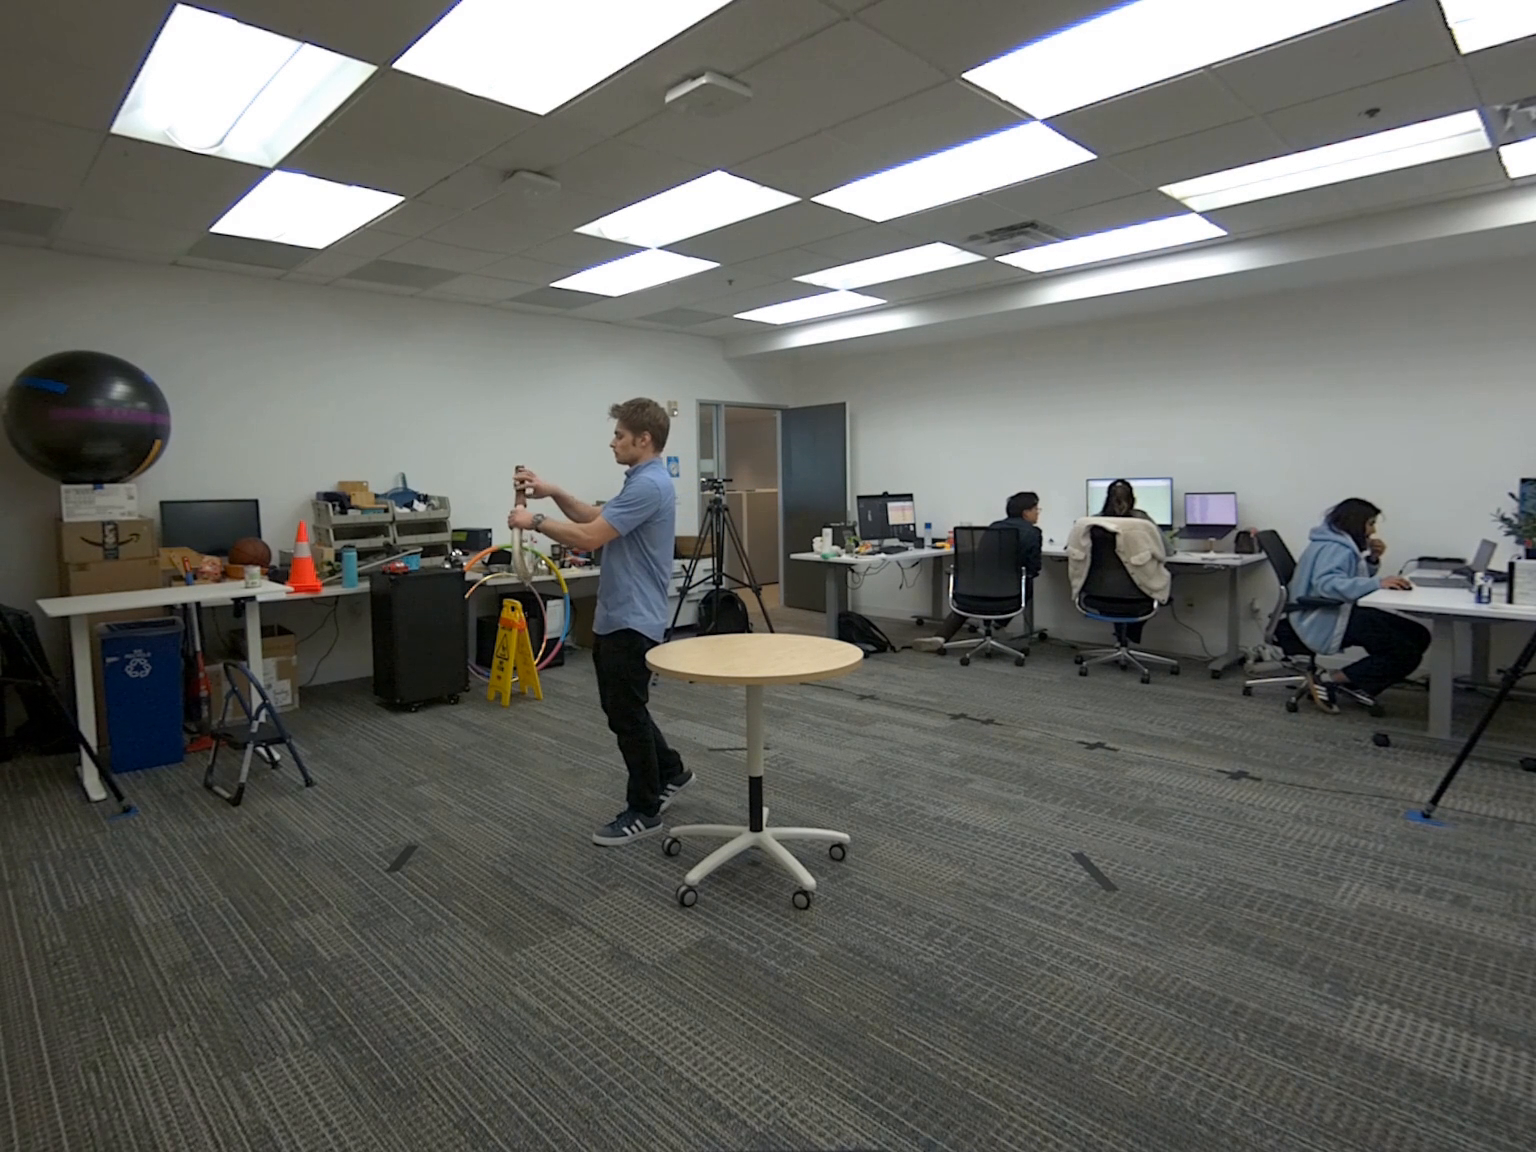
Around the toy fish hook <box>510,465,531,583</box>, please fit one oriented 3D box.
[{"bbox_3d":[-0.966,-0.207,3.361,0.048,0.520,0.219,-6,-28,-4],"label":"toy fish hook"}]
